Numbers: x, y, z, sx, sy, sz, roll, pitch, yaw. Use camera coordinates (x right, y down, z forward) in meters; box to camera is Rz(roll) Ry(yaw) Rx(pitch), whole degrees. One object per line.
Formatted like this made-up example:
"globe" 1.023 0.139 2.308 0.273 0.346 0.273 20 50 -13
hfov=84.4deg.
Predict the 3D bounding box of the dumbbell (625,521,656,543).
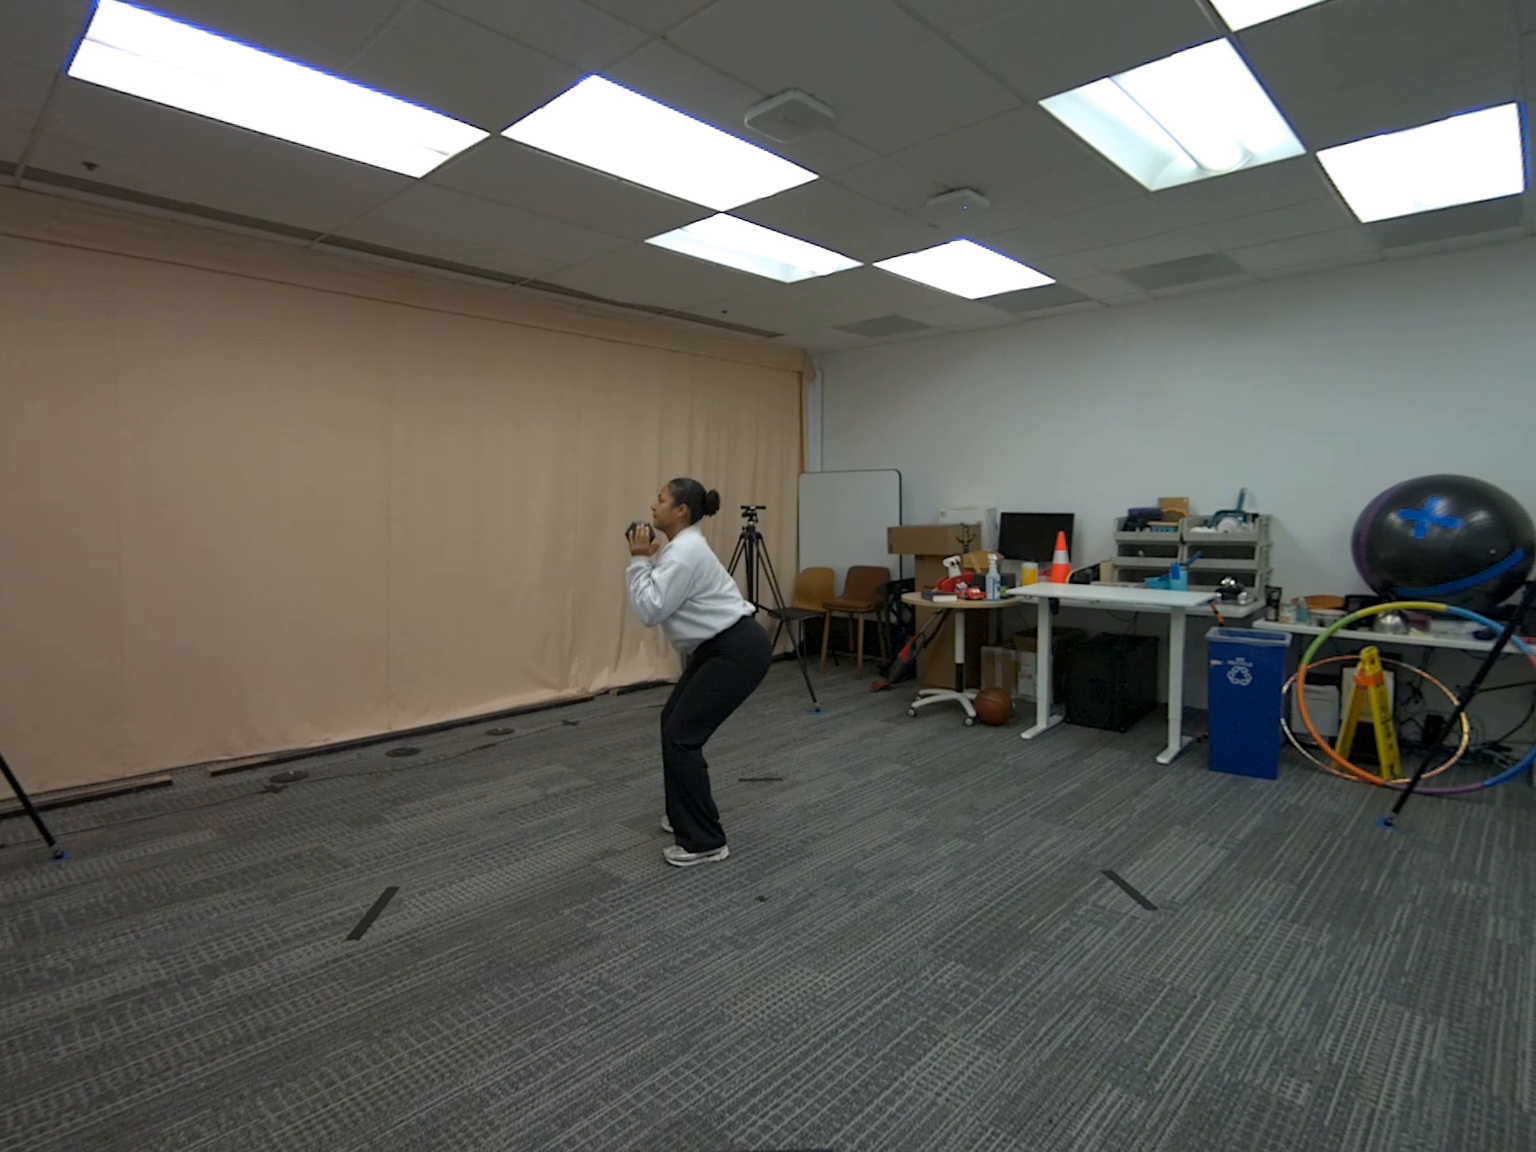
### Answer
"dumbbell" -0.511 -0.162 3.440 0.108 0.123 0.296 35 -1 -7
